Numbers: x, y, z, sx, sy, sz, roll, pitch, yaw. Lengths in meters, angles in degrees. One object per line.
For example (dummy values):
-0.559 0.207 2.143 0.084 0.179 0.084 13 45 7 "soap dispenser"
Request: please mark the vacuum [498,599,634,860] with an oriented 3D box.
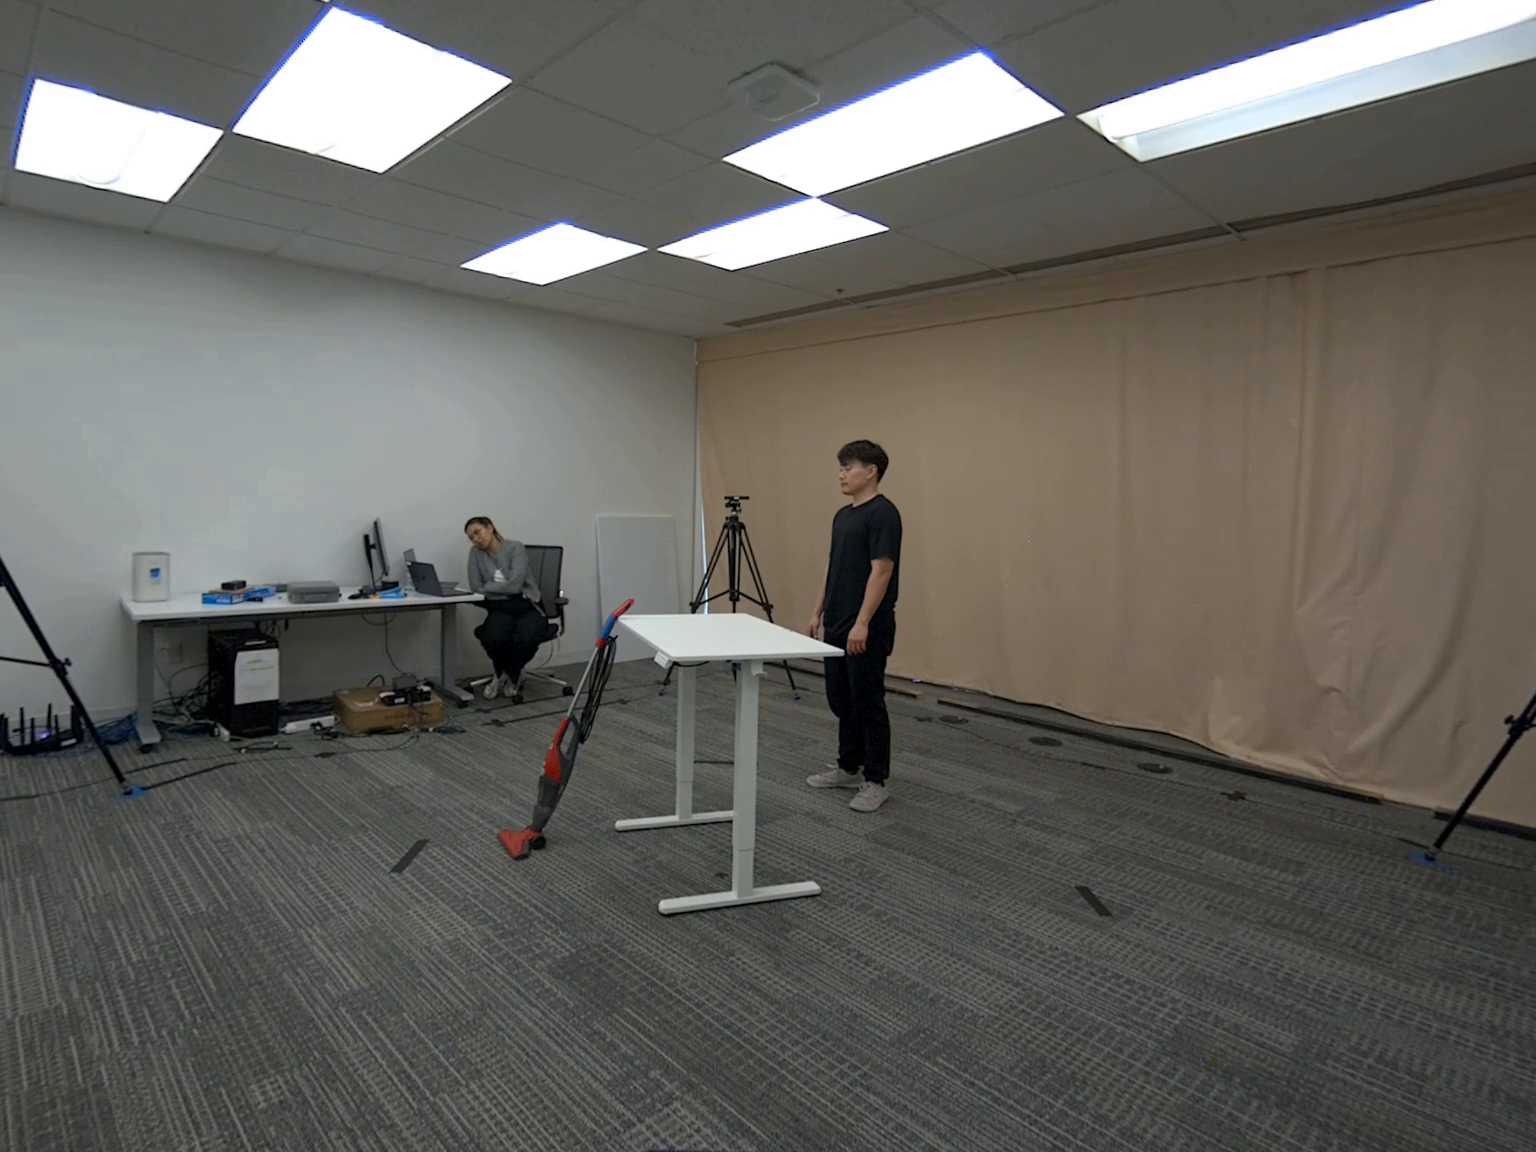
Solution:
-0.782 0.582 3.410 0.140 1.053 0.259 29 -12 -36 "vacuum"
